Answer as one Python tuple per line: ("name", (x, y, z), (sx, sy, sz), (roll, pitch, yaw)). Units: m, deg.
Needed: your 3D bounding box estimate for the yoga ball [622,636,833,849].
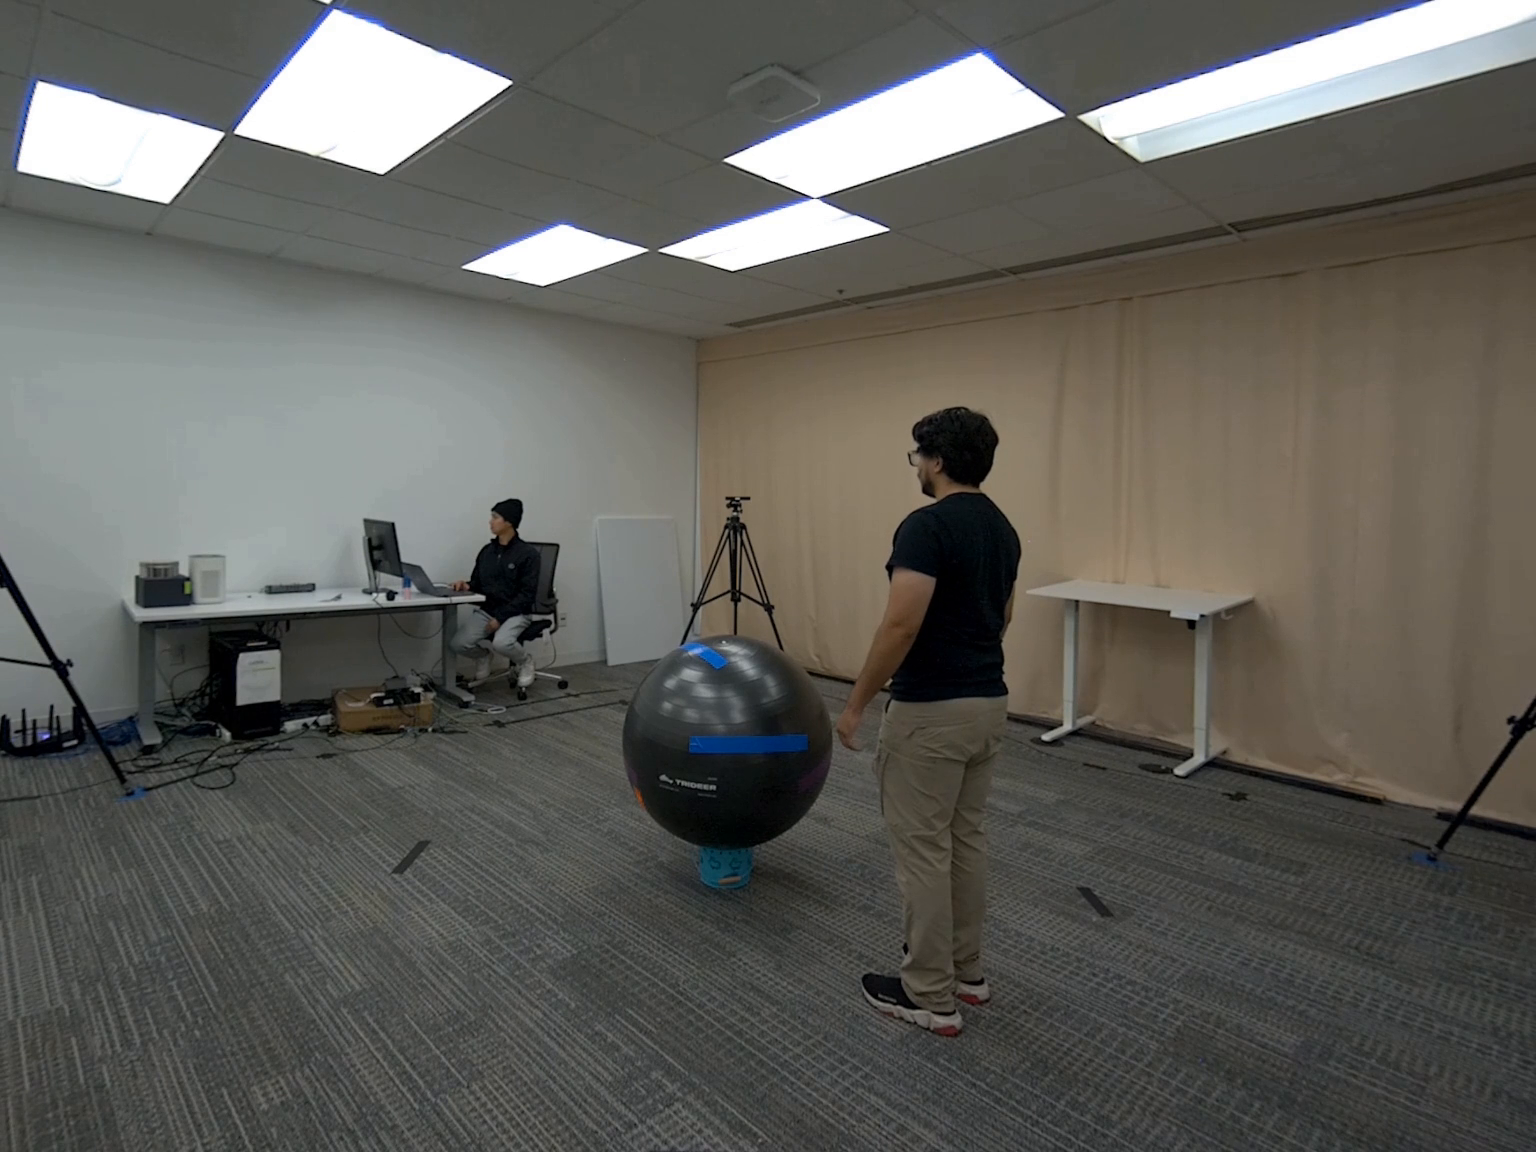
("yoga ball", (-0.151, 0.599, 3.053), (0.757, 0.756, 0.760), (1, 4, -1))
